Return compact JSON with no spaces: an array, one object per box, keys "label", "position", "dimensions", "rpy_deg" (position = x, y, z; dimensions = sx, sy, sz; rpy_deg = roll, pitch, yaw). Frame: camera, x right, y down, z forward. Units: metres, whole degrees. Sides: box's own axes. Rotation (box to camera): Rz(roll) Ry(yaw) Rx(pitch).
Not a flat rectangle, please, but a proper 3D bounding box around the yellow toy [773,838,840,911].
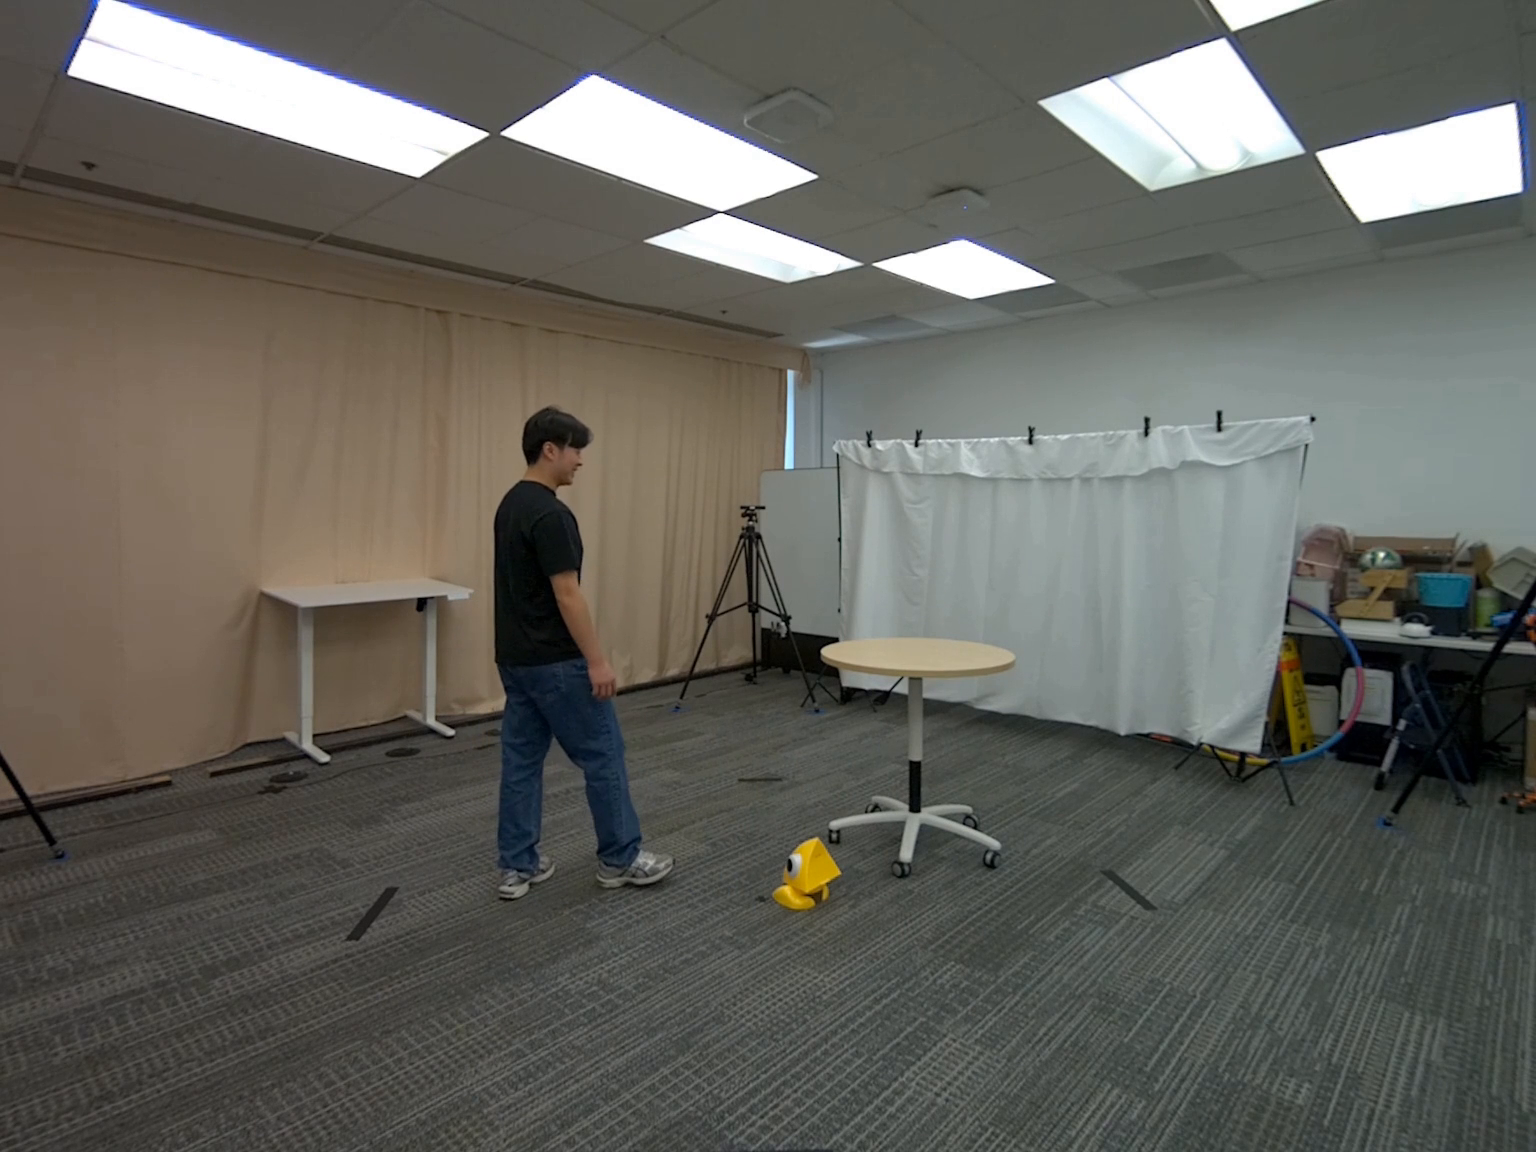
[{"label":"yellow toy","position":[0.130,1.030,2.990],"dimensions":[0.199,0.230,0.198],"rpy_deg":[4,5,43]}]
